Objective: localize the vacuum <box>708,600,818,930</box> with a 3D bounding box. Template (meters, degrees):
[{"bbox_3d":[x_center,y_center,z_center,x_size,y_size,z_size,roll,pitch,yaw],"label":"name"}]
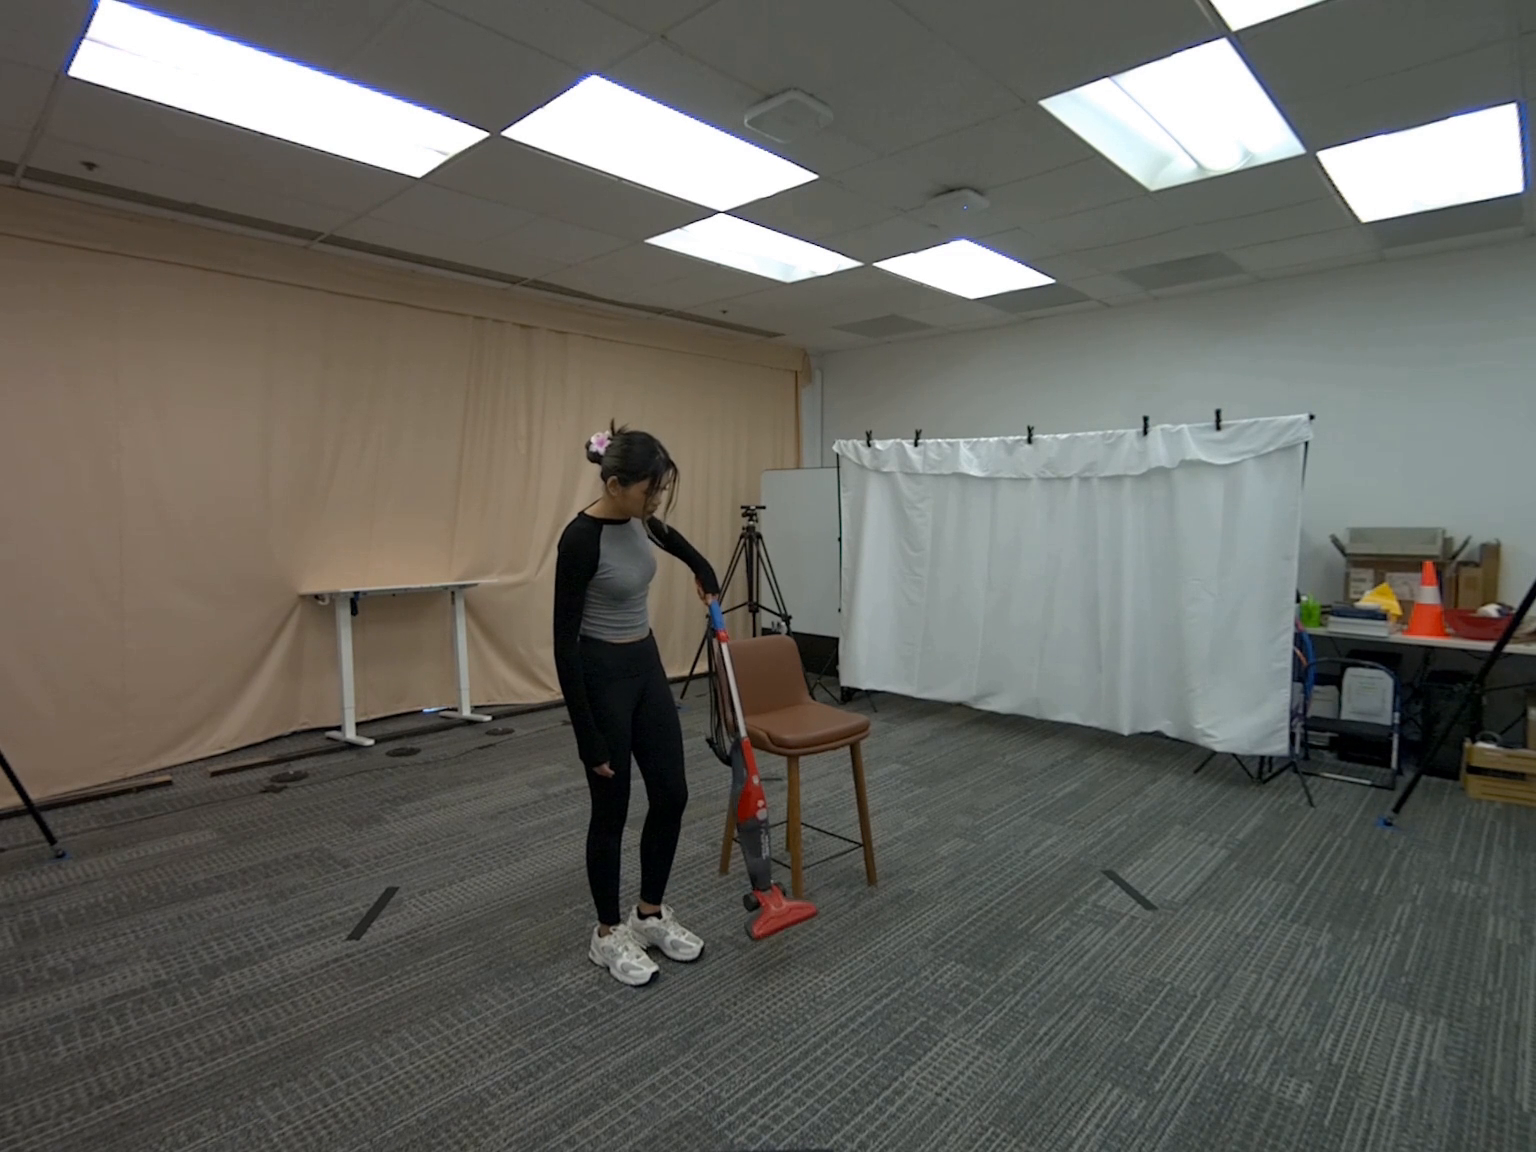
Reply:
[{"bbox_3d":[-0.096,0.492,2.654,0.245,1.059,0.147,-5,-14,-40],"label":"vacuum"}]
